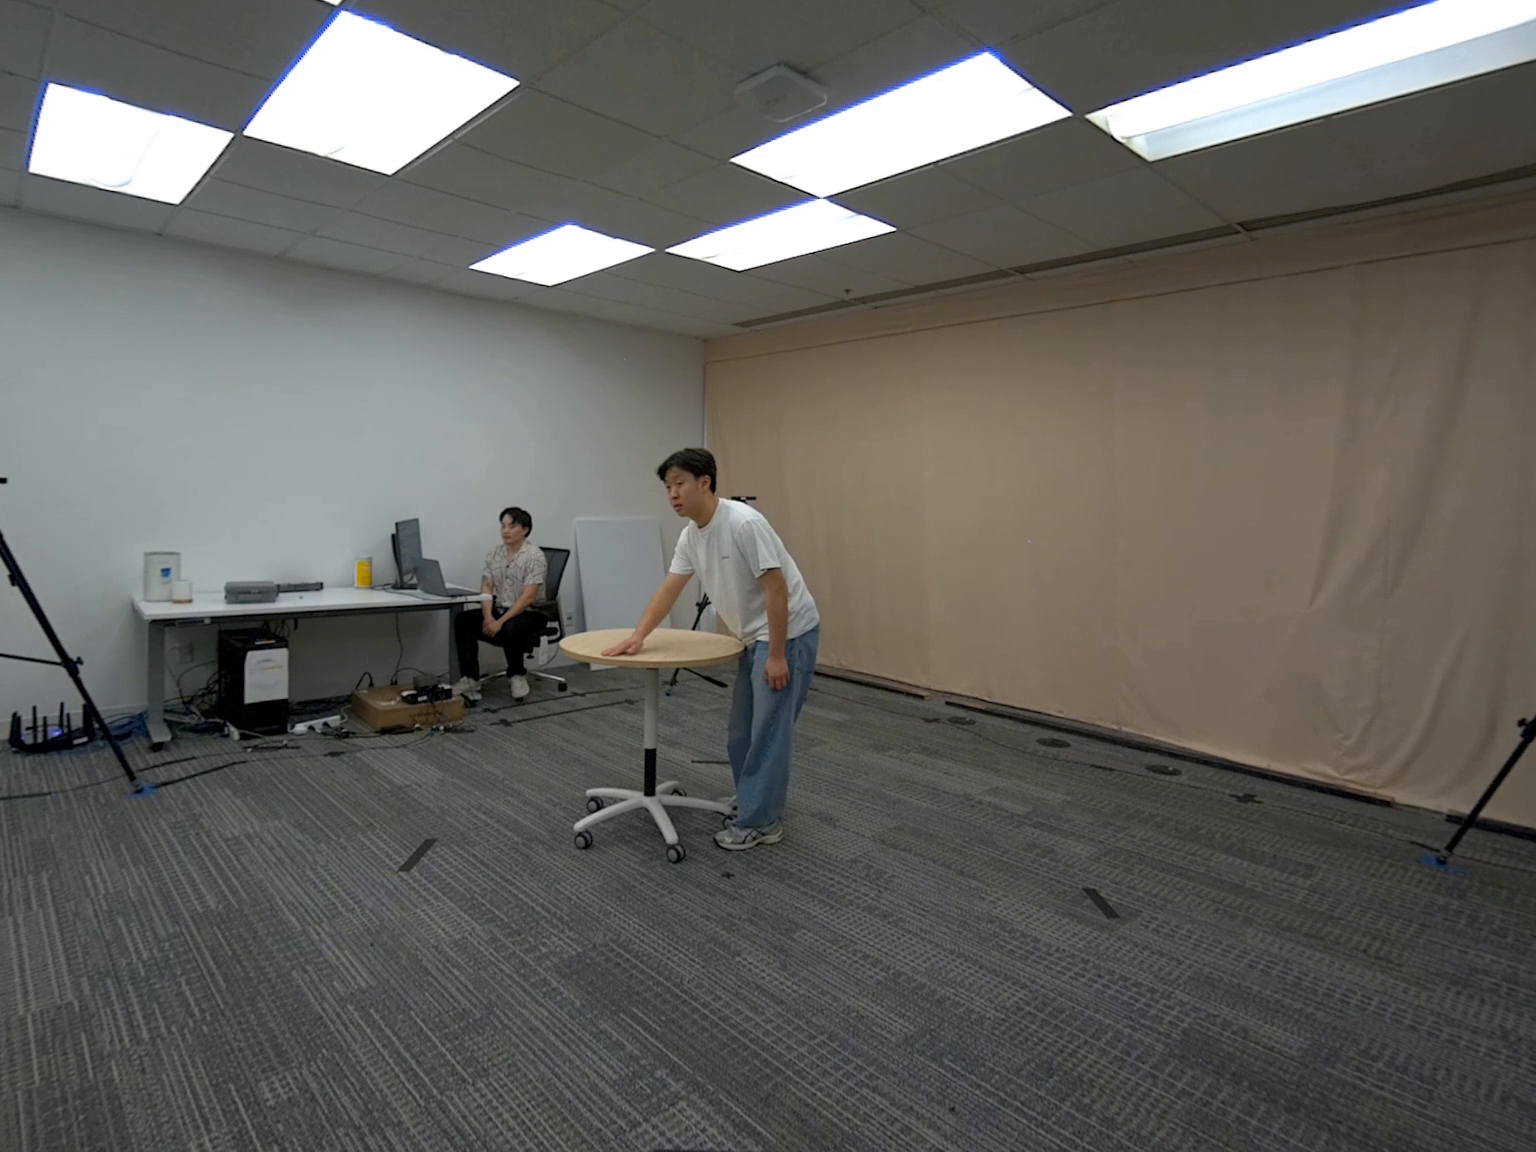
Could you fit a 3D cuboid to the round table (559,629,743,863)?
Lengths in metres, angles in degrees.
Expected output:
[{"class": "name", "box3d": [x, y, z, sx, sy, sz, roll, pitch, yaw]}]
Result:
[{"class": "round table", "box3d": [-0.496, 0.669, 3.506, 0.763, 0.792, 0.766, 1, 4, -1]}]
